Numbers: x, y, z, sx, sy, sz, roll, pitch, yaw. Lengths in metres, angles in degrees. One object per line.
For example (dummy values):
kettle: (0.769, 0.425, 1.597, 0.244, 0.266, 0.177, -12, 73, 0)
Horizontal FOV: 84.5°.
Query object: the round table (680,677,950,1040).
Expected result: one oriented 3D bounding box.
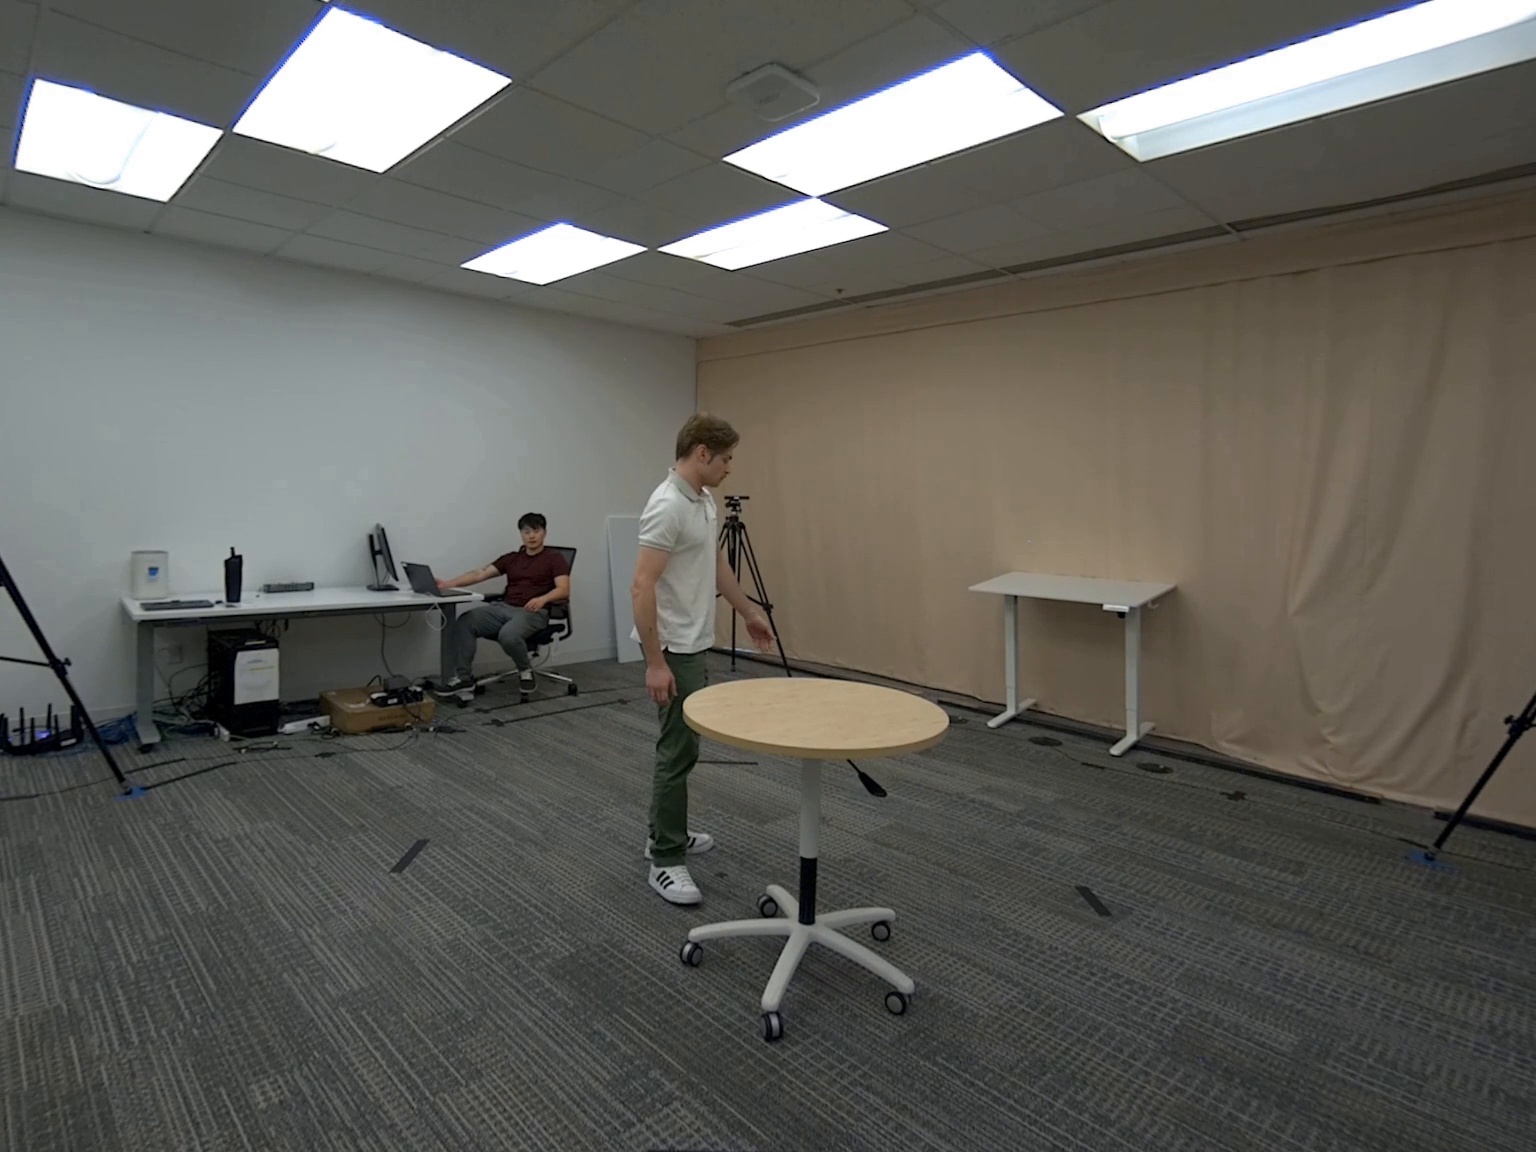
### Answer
round table: (0.122, 0.782, 2.476, 0.763, 0.791, 0.767, 2, 5, -2)
